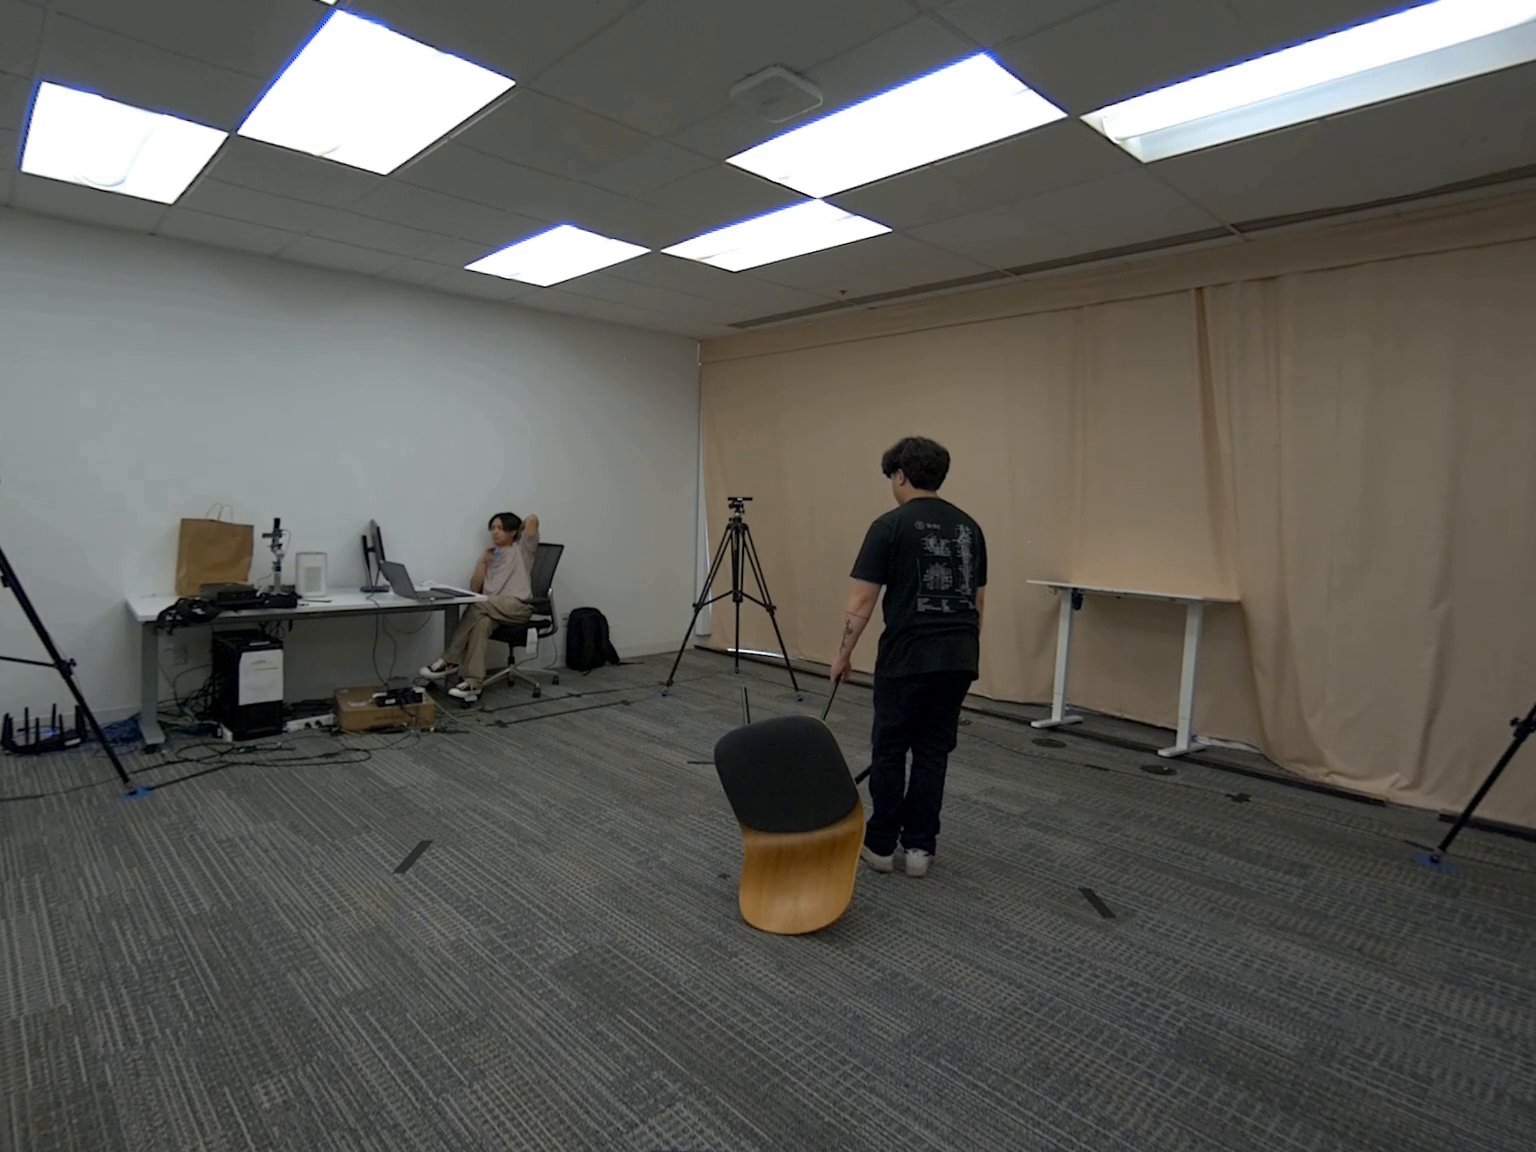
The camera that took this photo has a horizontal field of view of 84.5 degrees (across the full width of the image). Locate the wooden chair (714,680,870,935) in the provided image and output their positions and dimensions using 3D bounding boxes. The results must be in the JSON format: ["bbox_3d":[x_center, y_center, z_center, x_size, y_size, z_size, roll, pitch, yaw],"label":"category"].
[{"bbox_3d":[0.077,0.737,2.990,0.483,0.514,0.883,-17,19,20],"label":"wooden chair"}]
